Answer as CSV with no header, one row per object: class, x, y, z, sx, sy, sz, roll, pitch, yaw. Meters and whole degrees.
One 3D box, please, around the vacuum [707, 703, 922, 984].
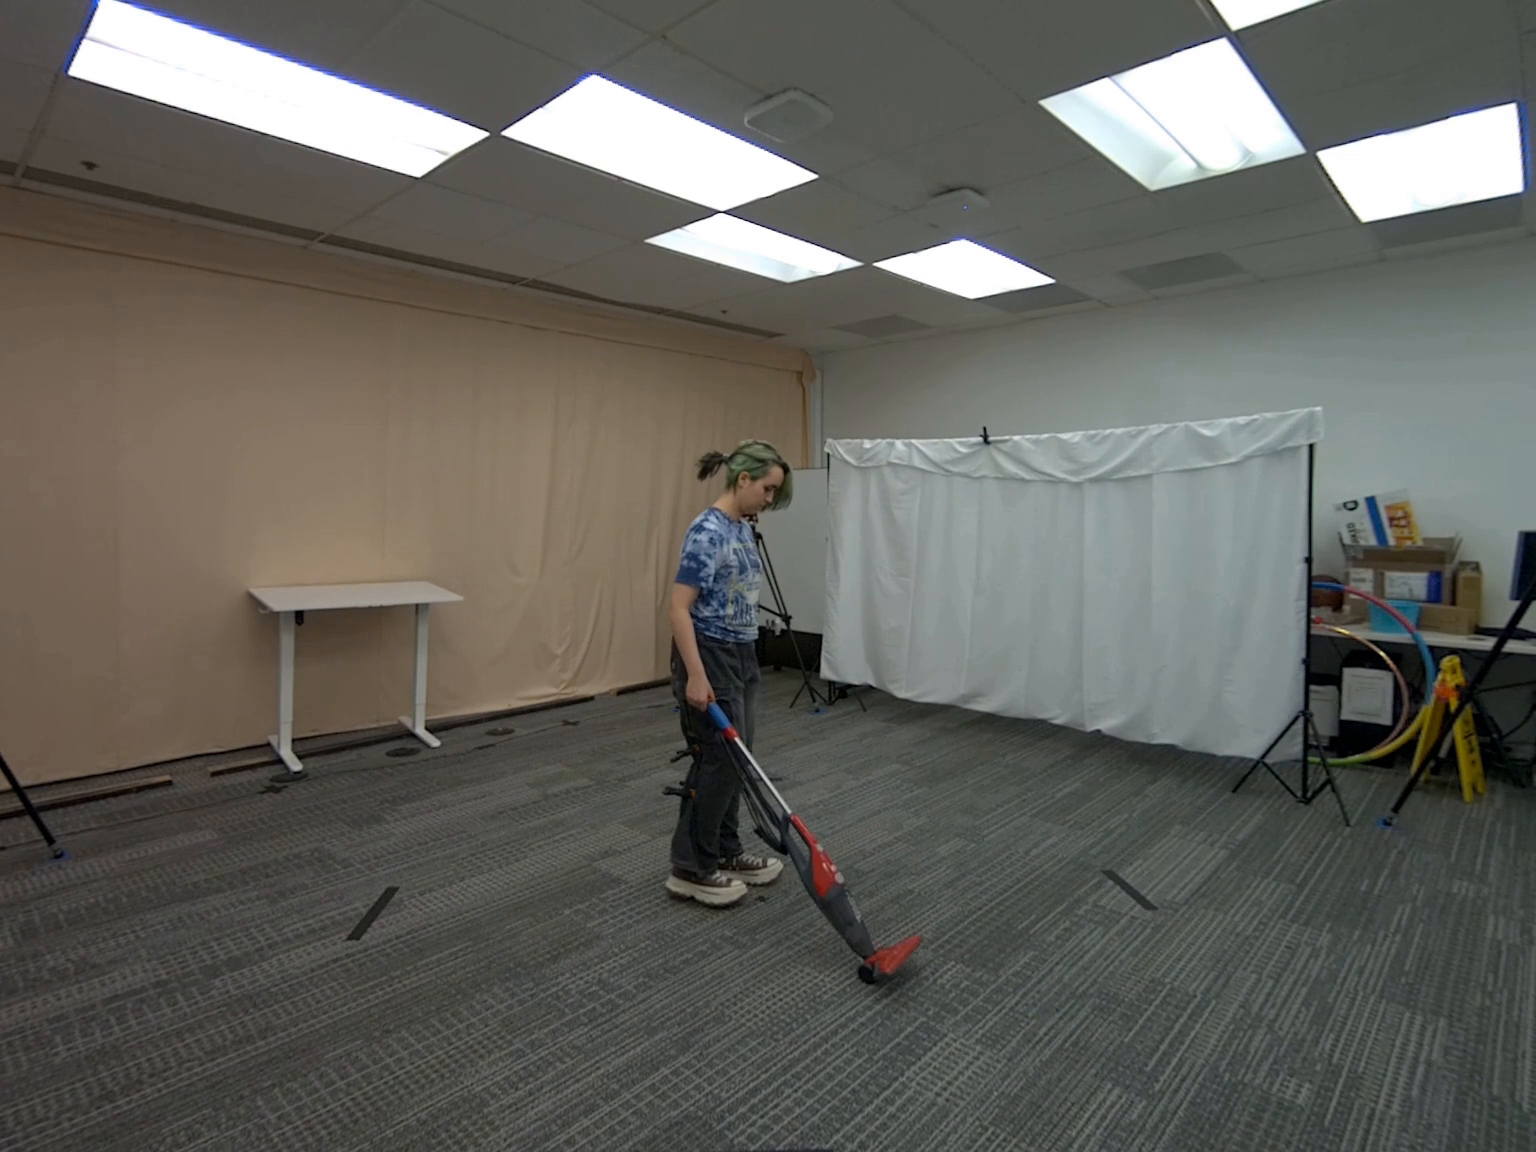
vacuum,0.058,0.781,2.676,0.245,0.144,1.077,-4,48,-53
